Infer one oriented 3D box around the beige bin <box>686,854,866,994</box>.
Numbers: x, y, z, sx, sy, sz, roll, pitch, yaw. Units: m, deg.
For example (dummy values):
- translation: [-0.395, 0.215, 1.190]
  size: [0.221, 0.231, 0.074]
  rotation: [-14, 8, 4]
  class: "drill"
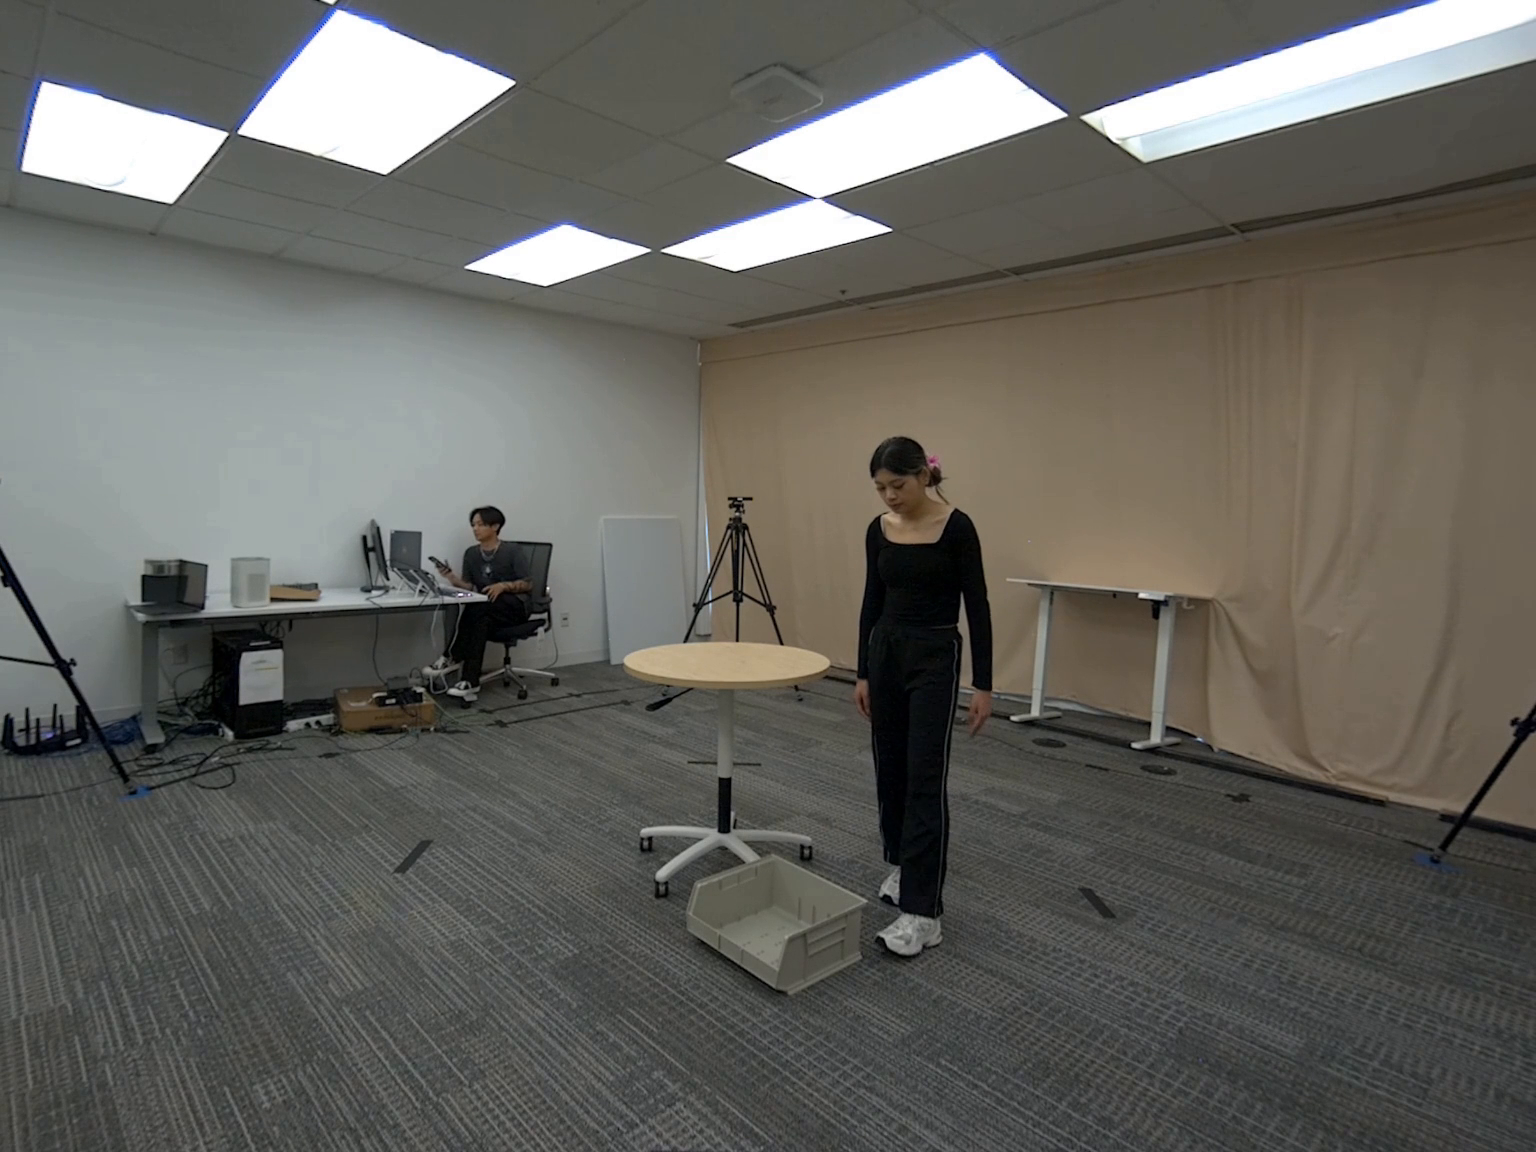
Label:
- translation: [0.017, 1.071, 2.601]
  size: [0.369, 0.188, 0.433]
  rotation: [-2, 6, -42]
  class: "beige bin"
